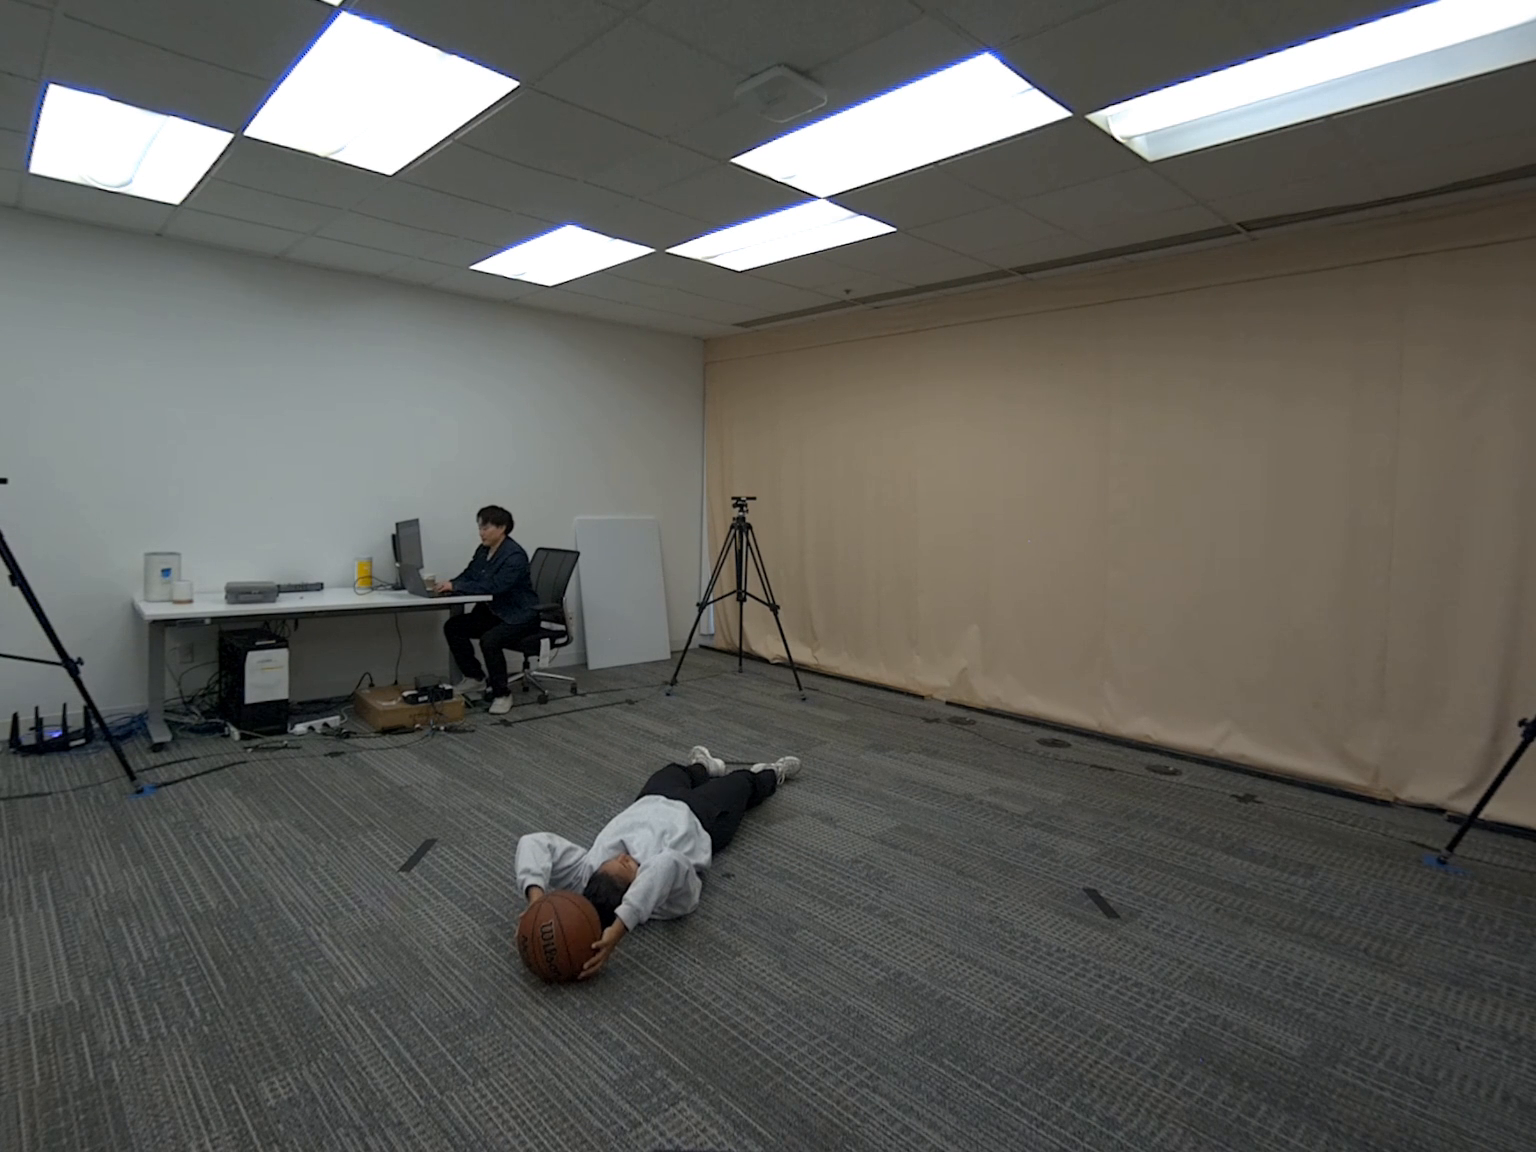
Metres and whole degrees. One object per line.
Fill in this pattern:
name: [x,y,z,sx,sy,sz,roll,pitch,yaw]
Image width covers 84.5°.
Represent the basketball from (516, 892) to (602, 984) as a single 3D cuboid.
basketball: [-0.606,1.036,2.430,0.235,0.235,0.237,4,7,-2]
